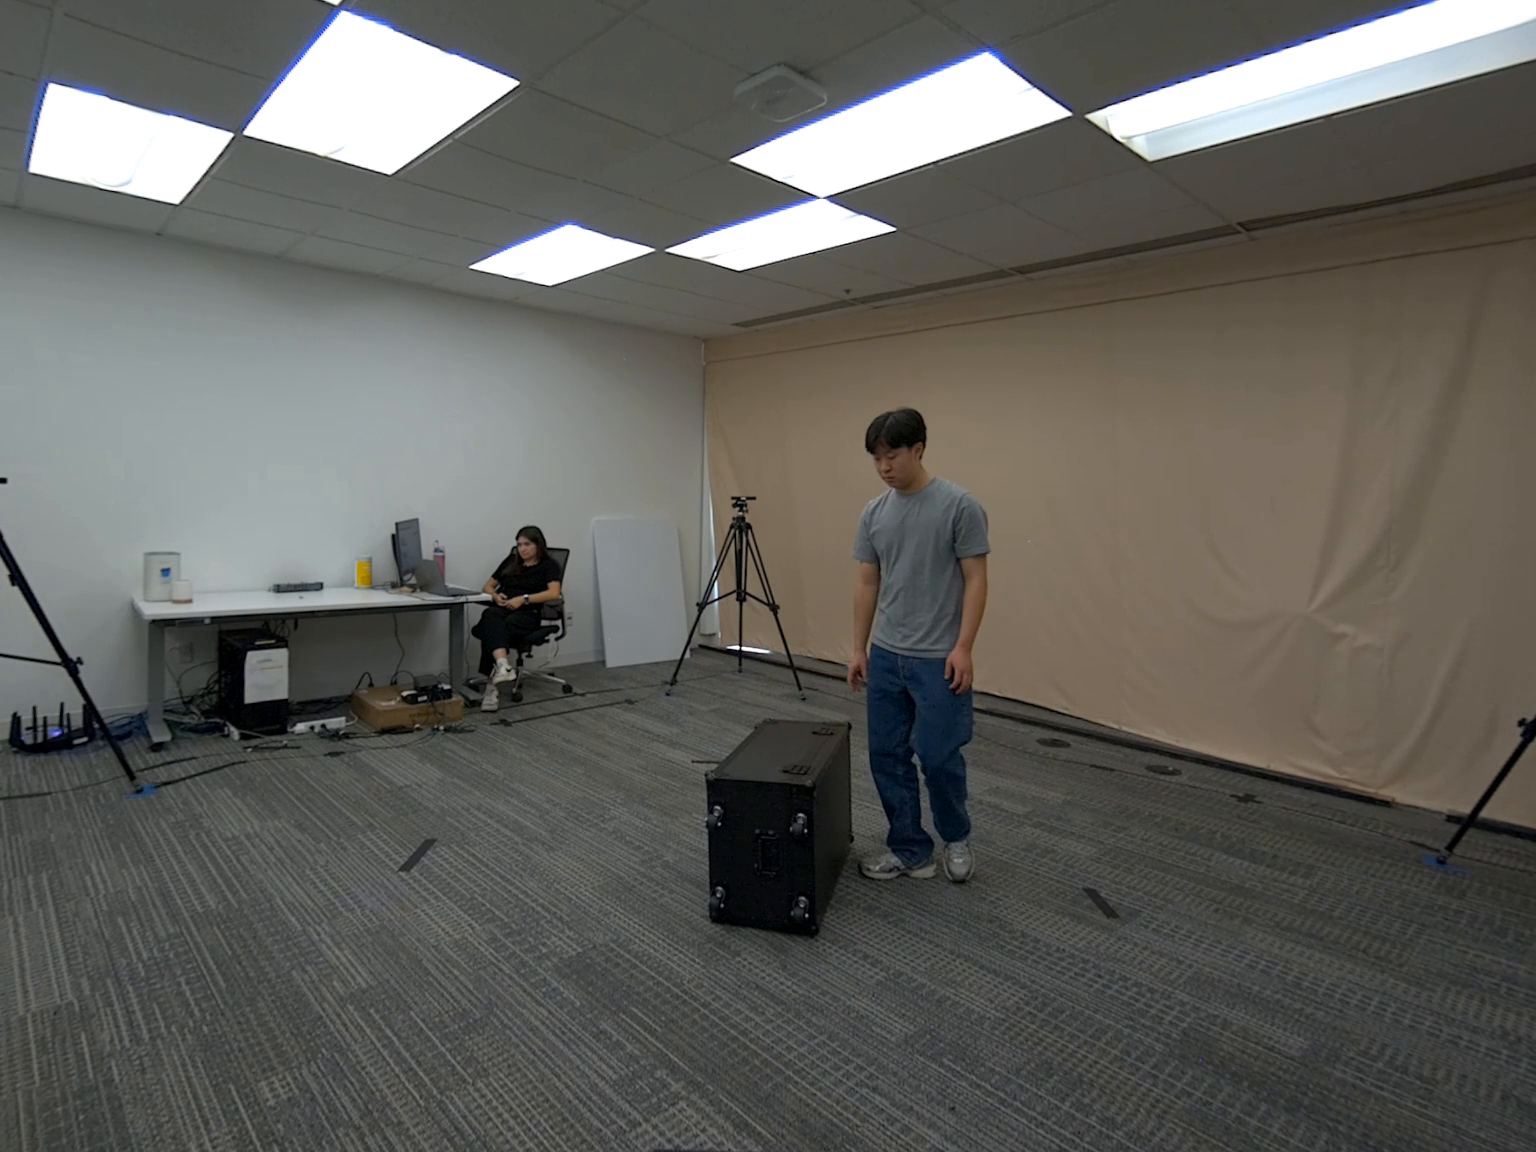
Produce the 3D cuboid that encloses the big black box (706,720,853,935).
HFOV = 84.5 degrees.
[{"bbox_3d":[0.043,0.861,3.036,0.401,0.520,0.853,-1,4,14],"label":"big black box"}]
